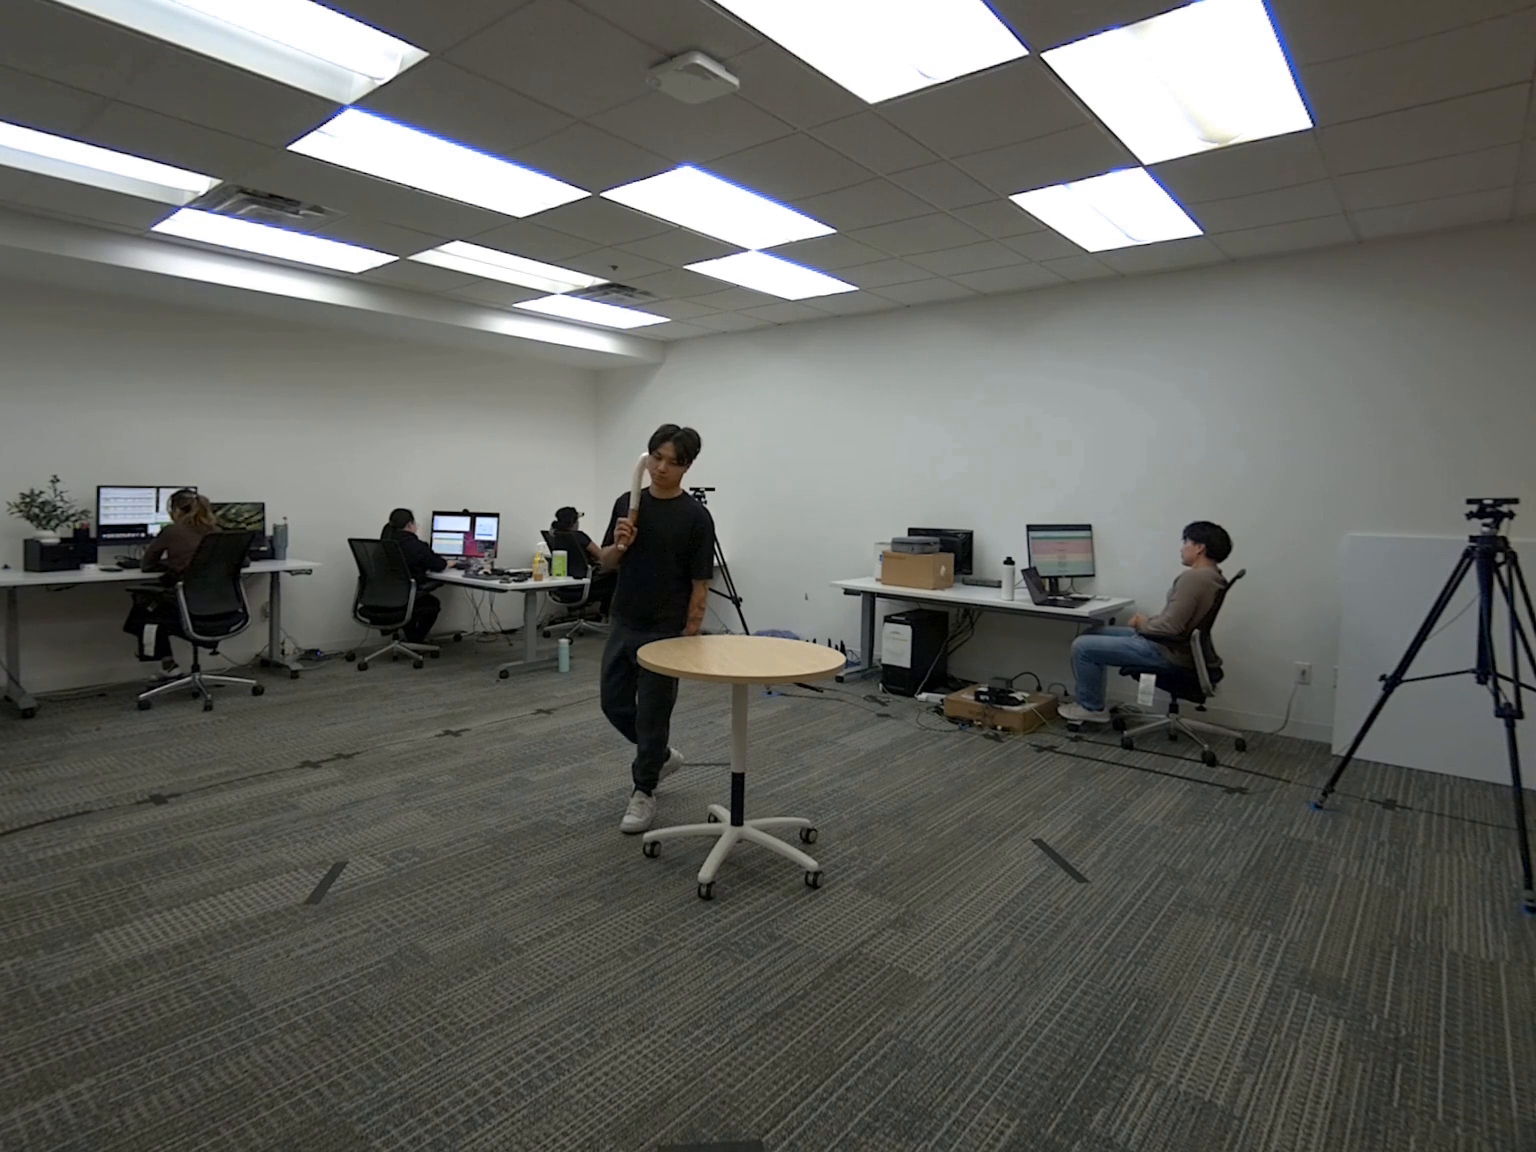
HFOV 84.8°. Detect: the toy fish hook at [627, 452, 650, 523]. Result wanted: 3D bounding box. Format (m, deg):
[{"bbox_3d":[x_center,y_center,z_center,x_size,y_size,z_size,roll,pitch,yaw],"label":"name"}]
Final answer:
[{"bbox_3d":[-0.530,-0.293,3.584,0.049,0.516,0.215,-7,-34,29],"label":"toy fish hook"}]
